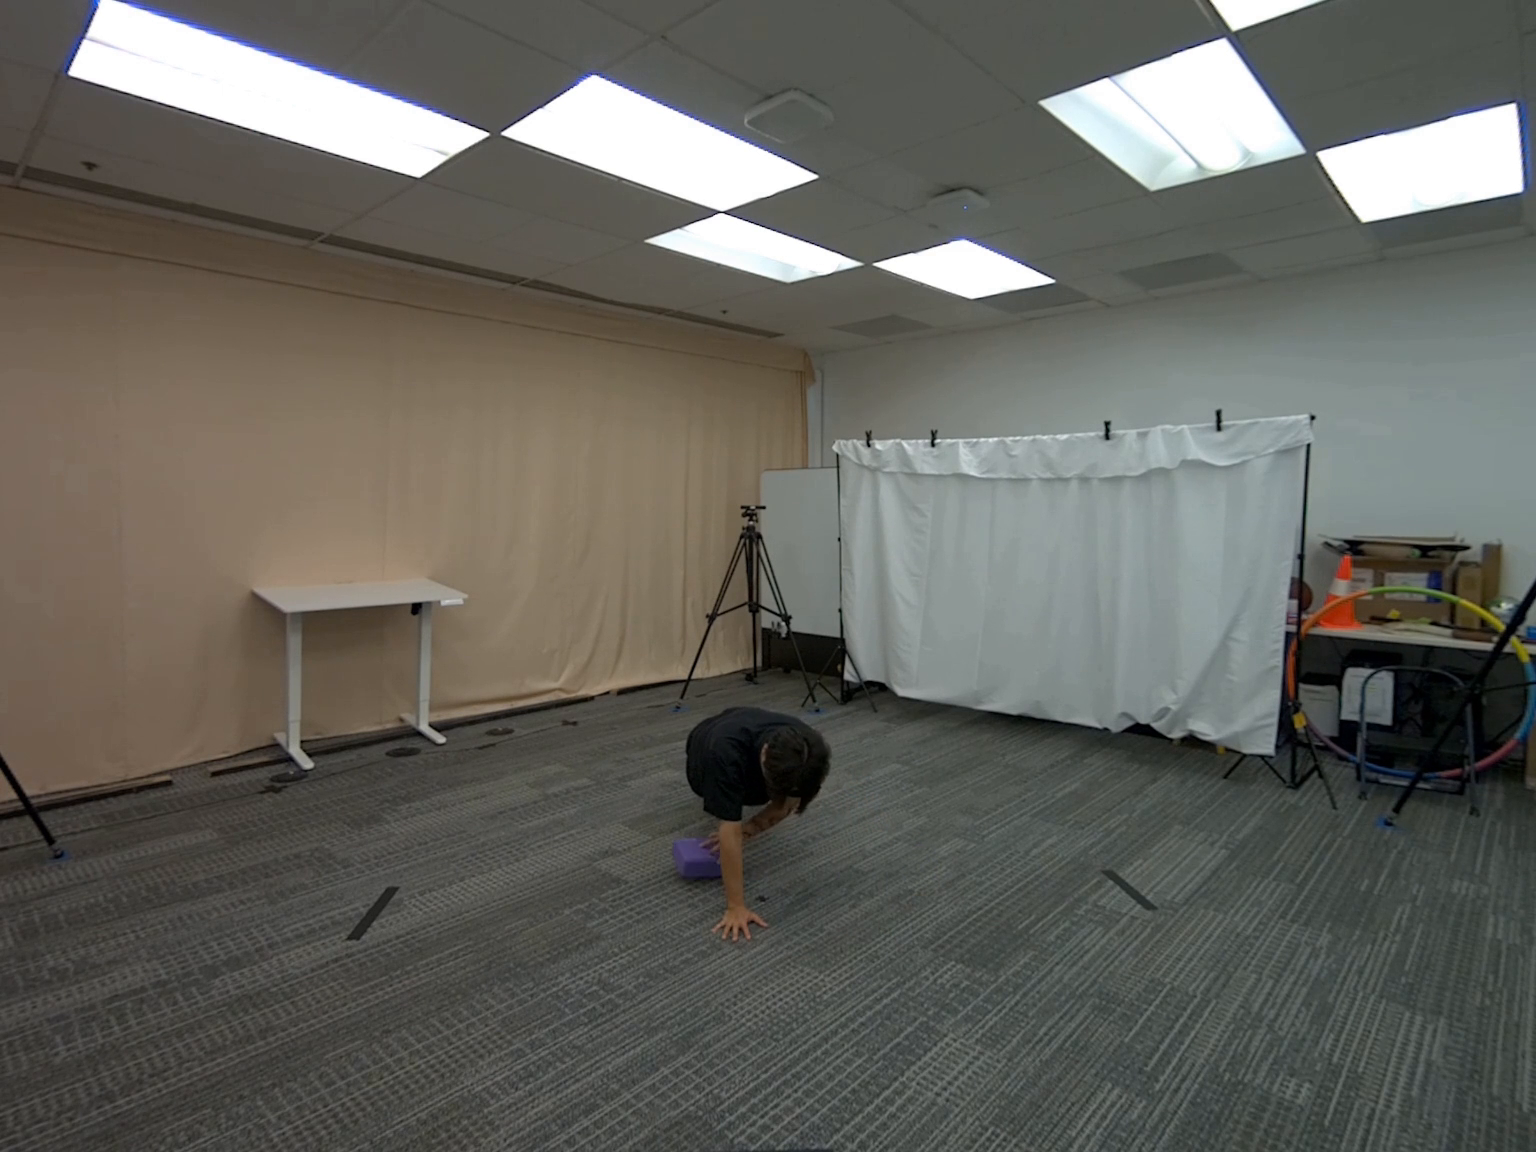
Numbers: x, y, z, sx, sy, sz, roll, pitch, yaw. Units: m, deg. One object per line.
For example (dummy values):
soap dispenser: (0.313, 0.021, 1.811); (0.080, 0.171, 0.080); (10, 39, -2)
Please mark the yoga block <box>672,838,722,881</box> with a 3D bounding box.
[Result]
yoga block: (-0.215, 1.050, 3.162); (0.224, 0.076, 0.153); (7, 13, -24)
